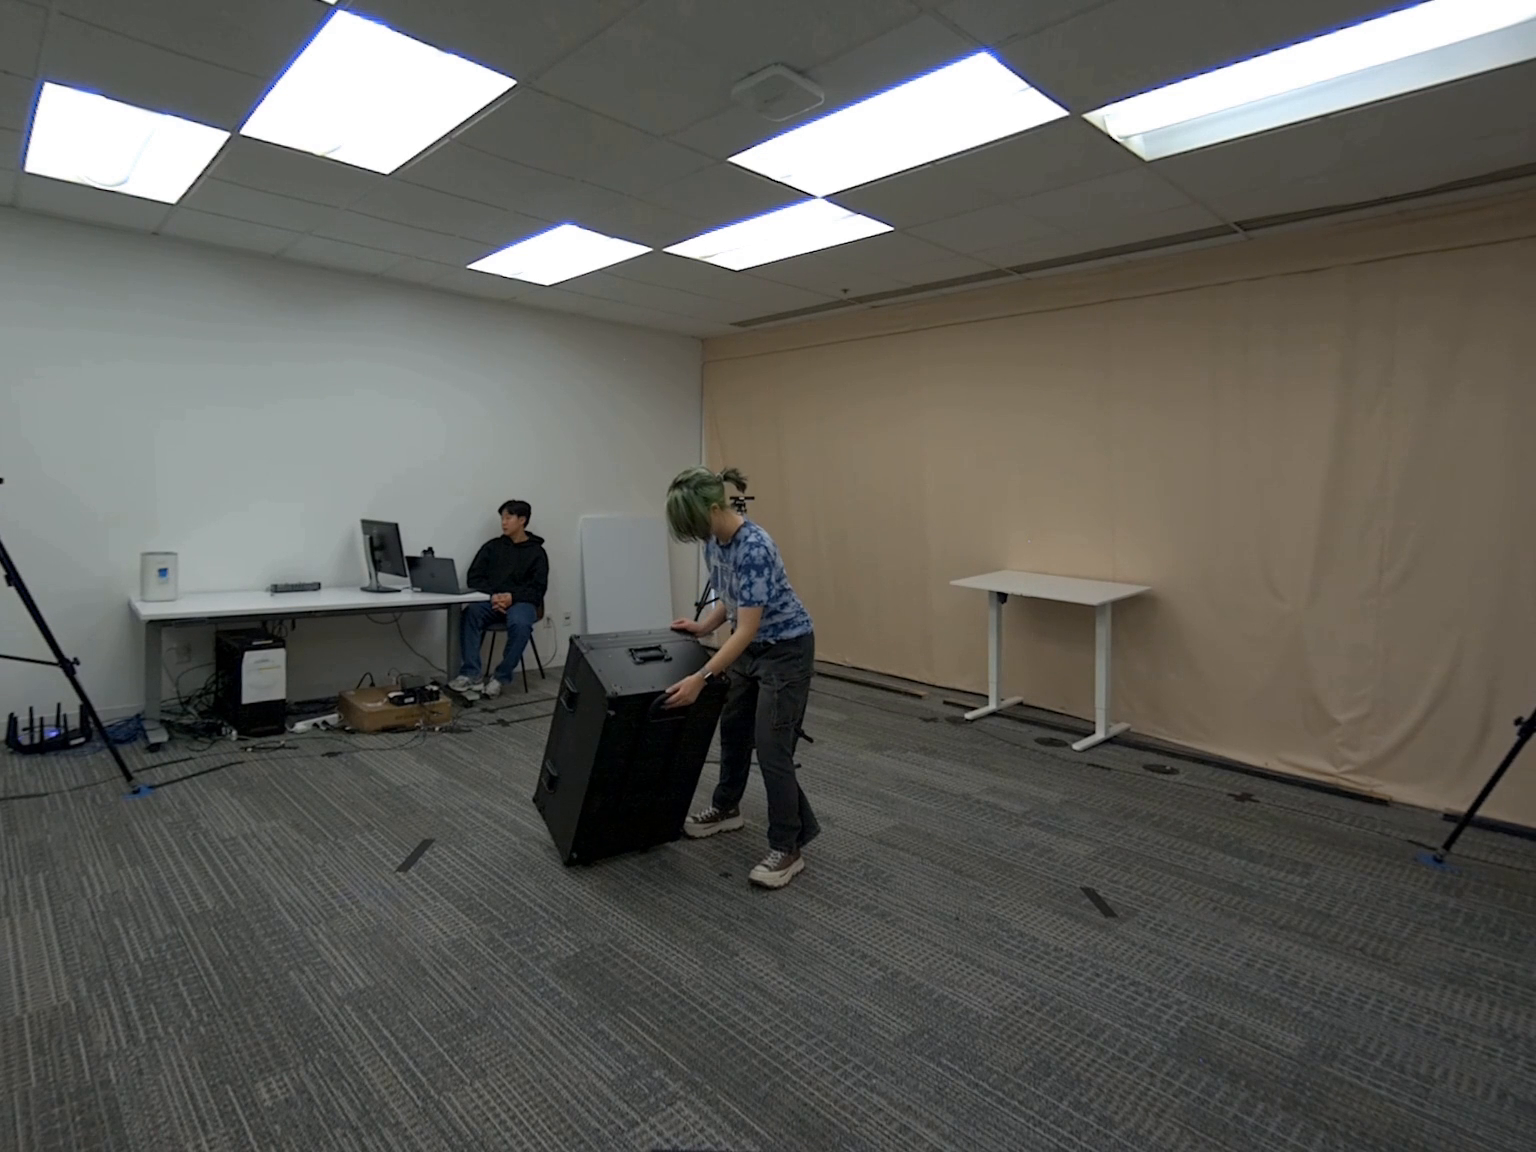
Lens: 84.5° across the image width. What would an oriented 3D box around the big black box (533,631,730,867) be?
[{"bbox_3d":[-0.533,0.662,3.144,0.510,0.852,0.409,-1,31,-35],"label":"big black box"}]
